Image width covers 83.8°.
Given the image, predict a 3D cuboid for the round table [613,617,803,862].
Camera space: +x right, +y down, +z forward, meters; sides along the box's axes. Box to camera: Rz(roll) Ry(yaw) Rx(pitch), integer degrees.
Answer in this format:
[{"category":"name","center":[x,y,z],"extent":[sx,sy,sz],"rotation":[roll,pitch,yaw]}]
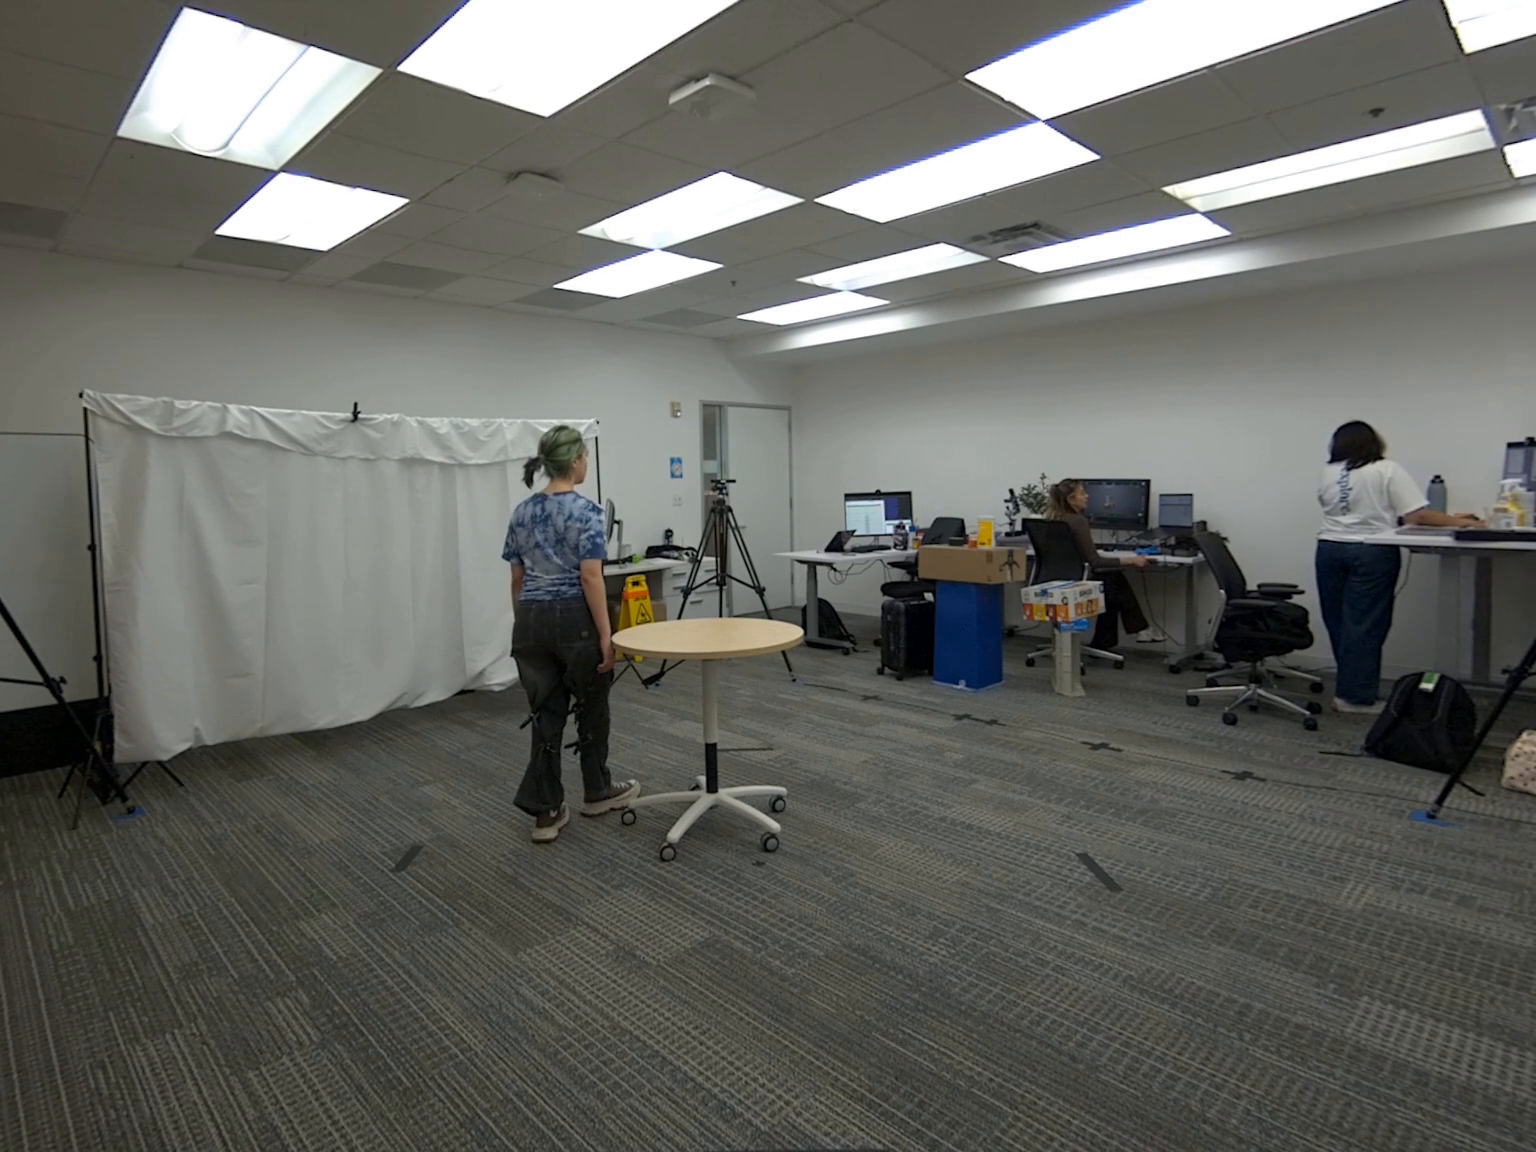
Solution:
[{"category":"round table","center":[-0.231,0.623,3.429],"extent":[0.763,0.791,0.768],"rotation":[-2,5,-2]}]
